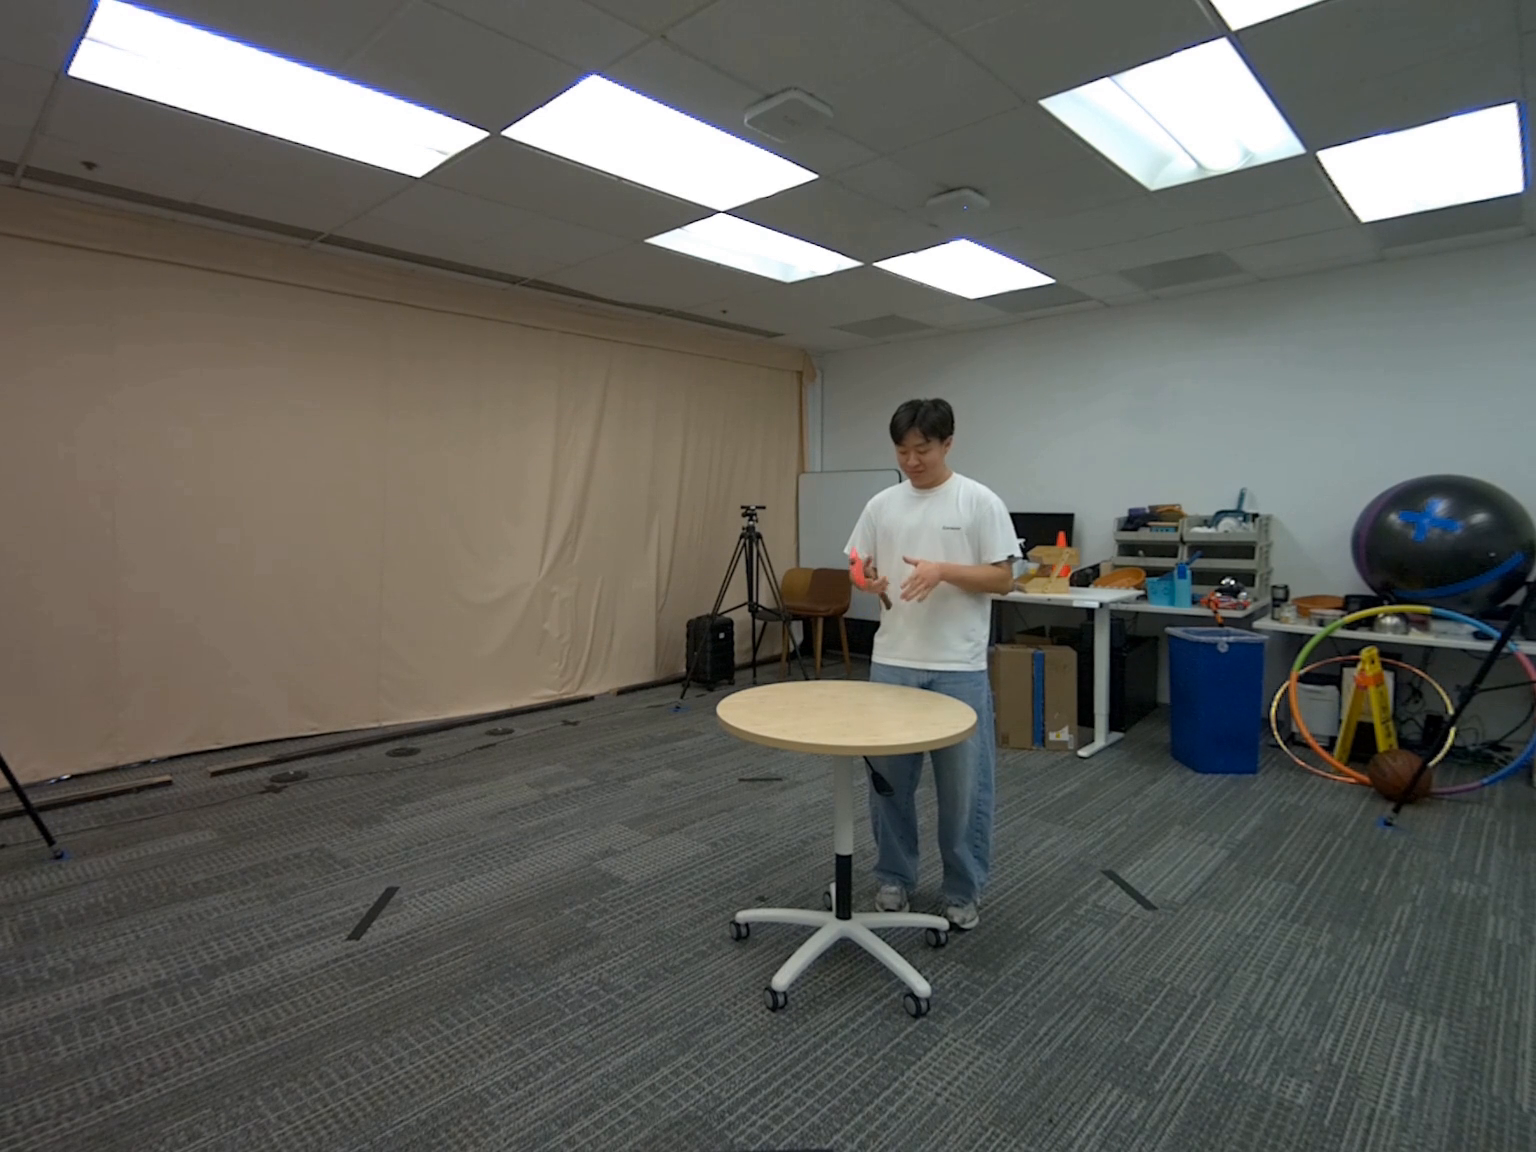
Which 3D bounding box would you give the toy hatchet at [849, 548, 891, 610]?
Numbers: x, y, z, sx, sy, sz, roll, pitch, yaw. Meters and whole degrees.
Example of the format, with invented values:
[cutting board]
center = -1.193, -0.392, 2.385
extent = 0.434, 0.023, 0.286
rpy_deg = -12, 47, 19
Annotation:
[toy hatchet]
center = 0.347, 0.044, 2.678
extent = 0.030, 0.262, 0.132
rpy_deg = -19, 35, 30
